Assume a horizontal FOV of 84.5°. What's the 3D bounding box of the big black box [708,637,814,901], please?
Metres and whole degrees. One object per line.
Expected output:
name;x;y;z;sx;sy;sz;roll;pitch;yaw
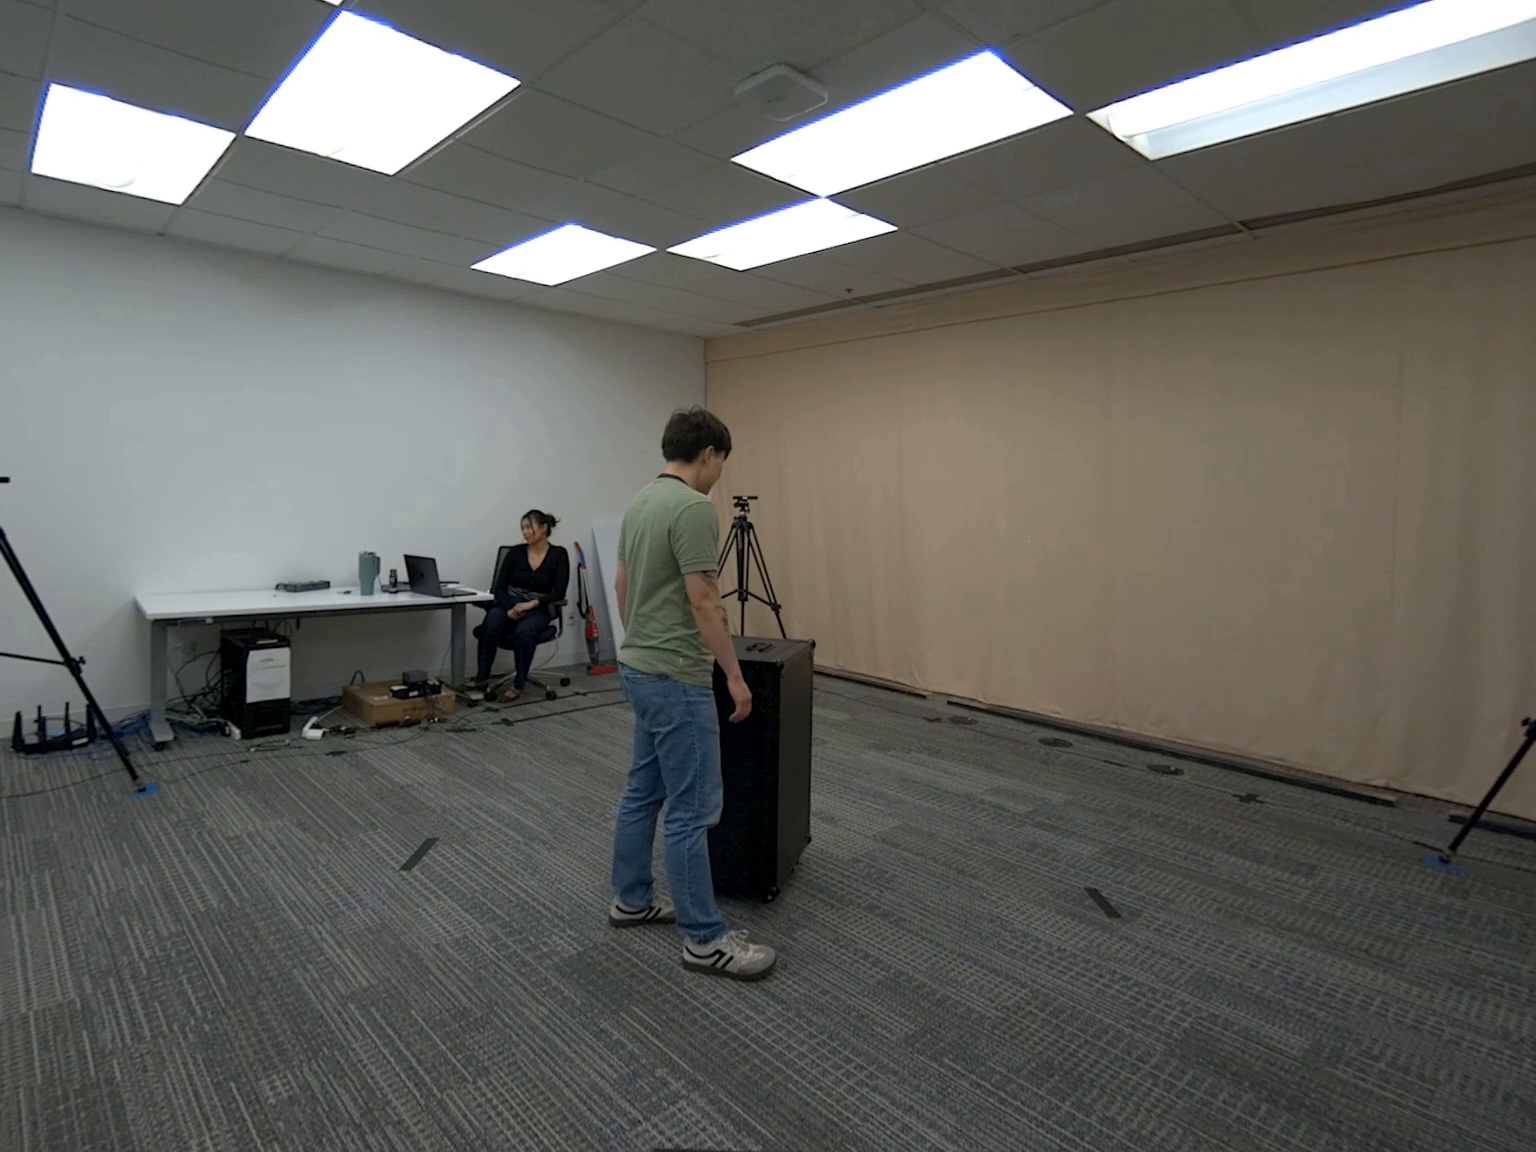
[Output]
big black box;-0.074;0.686;3.061;0.402;0.859;0.515;2;4;17
